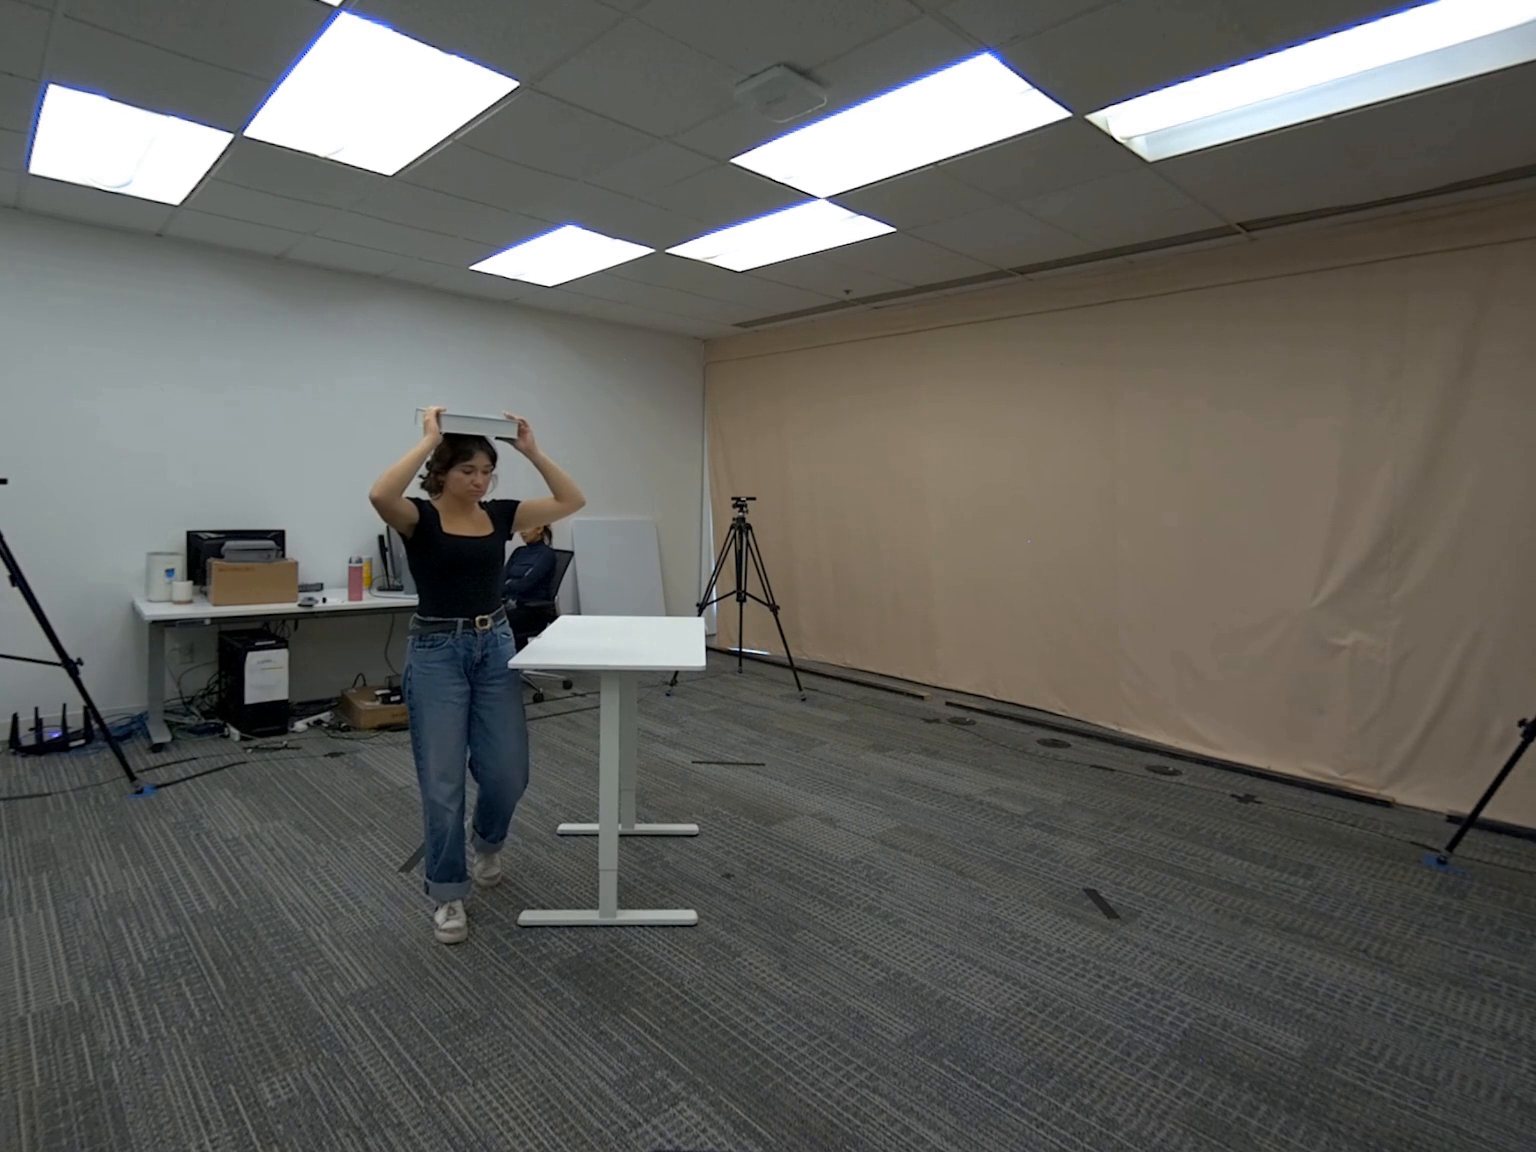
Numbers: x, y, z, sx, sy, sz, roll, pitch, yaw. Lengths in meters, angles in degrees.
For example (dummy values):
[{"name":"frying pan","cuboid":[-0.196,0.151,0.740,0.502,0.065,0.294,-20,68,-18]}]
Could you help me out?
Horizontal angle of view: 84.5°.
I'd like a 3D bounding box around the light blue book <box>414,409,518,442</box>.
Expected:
[{"name":"light blue book","cuboid":[-0.965,-0.485,2.657,0.255,0.059,0.197,-3,14,-45]}]
